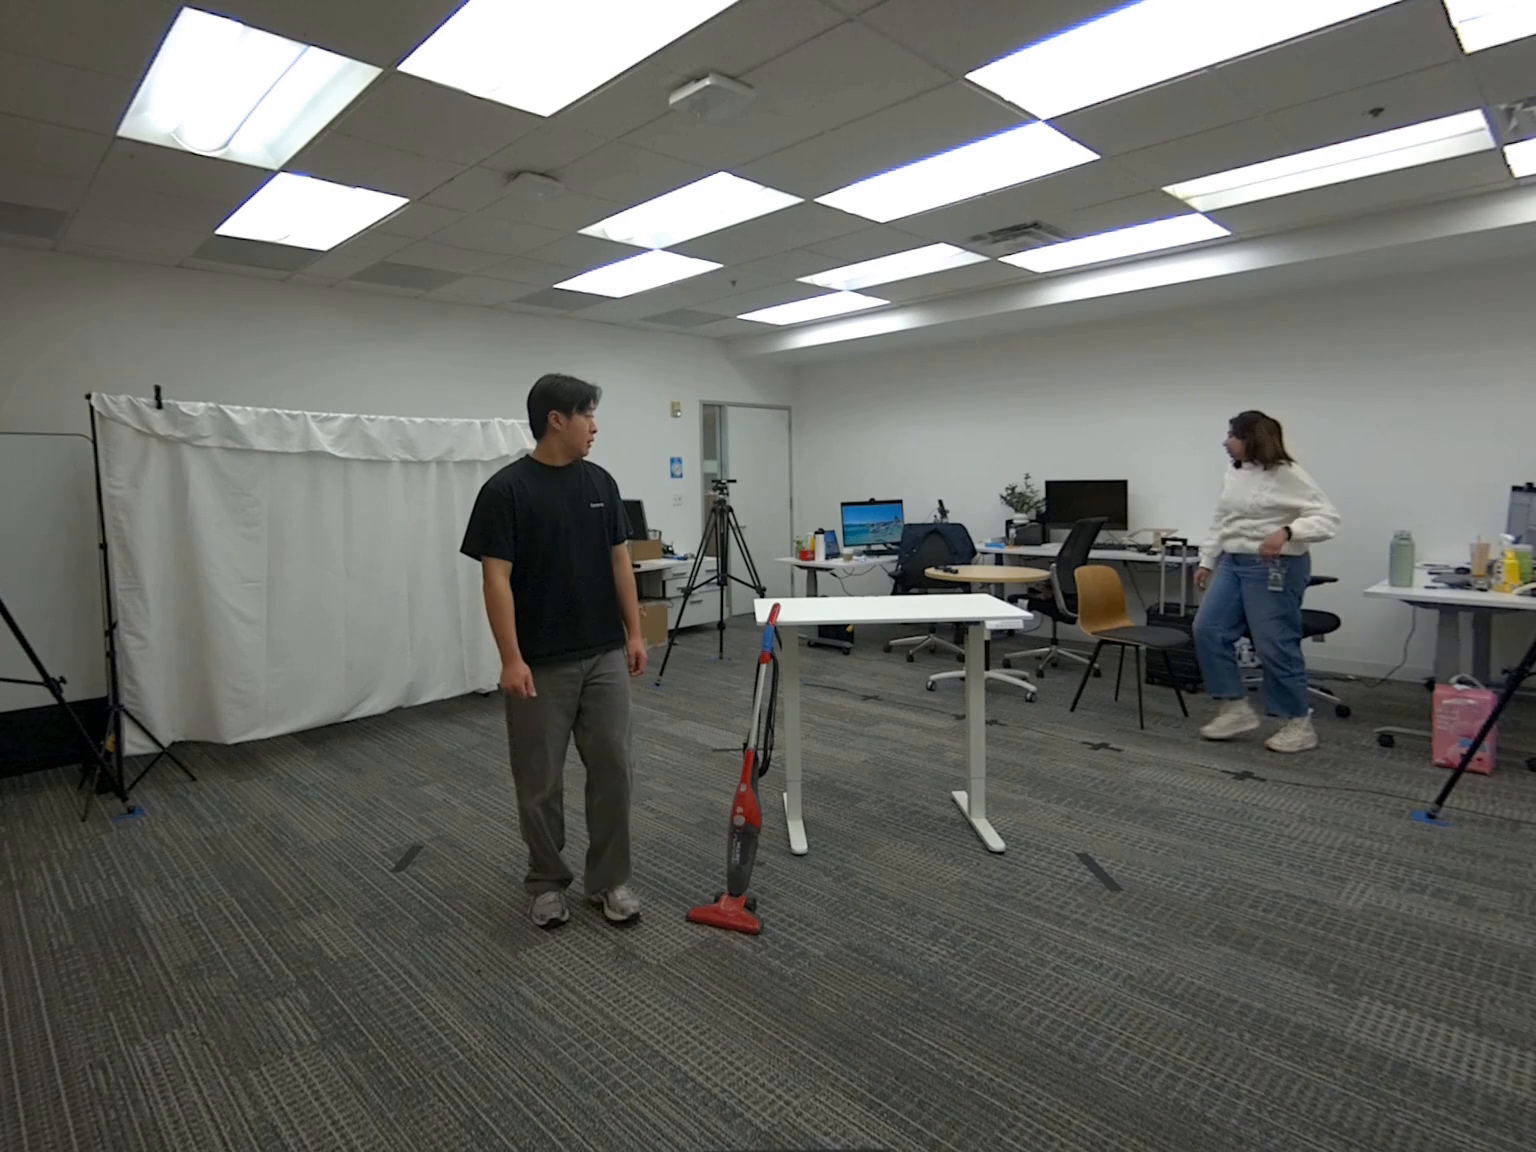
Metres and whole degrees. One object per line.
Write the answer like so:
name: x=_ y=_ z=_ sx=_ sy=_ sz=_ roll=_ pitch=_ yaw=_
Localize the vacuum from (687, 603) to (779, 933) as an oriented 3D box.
vacuum: x=-0.046 y=0.597 z=2.929 sx=0.258 sy=1.065 sz=0.138 roll=-4 pitch=-26 yaw=30
